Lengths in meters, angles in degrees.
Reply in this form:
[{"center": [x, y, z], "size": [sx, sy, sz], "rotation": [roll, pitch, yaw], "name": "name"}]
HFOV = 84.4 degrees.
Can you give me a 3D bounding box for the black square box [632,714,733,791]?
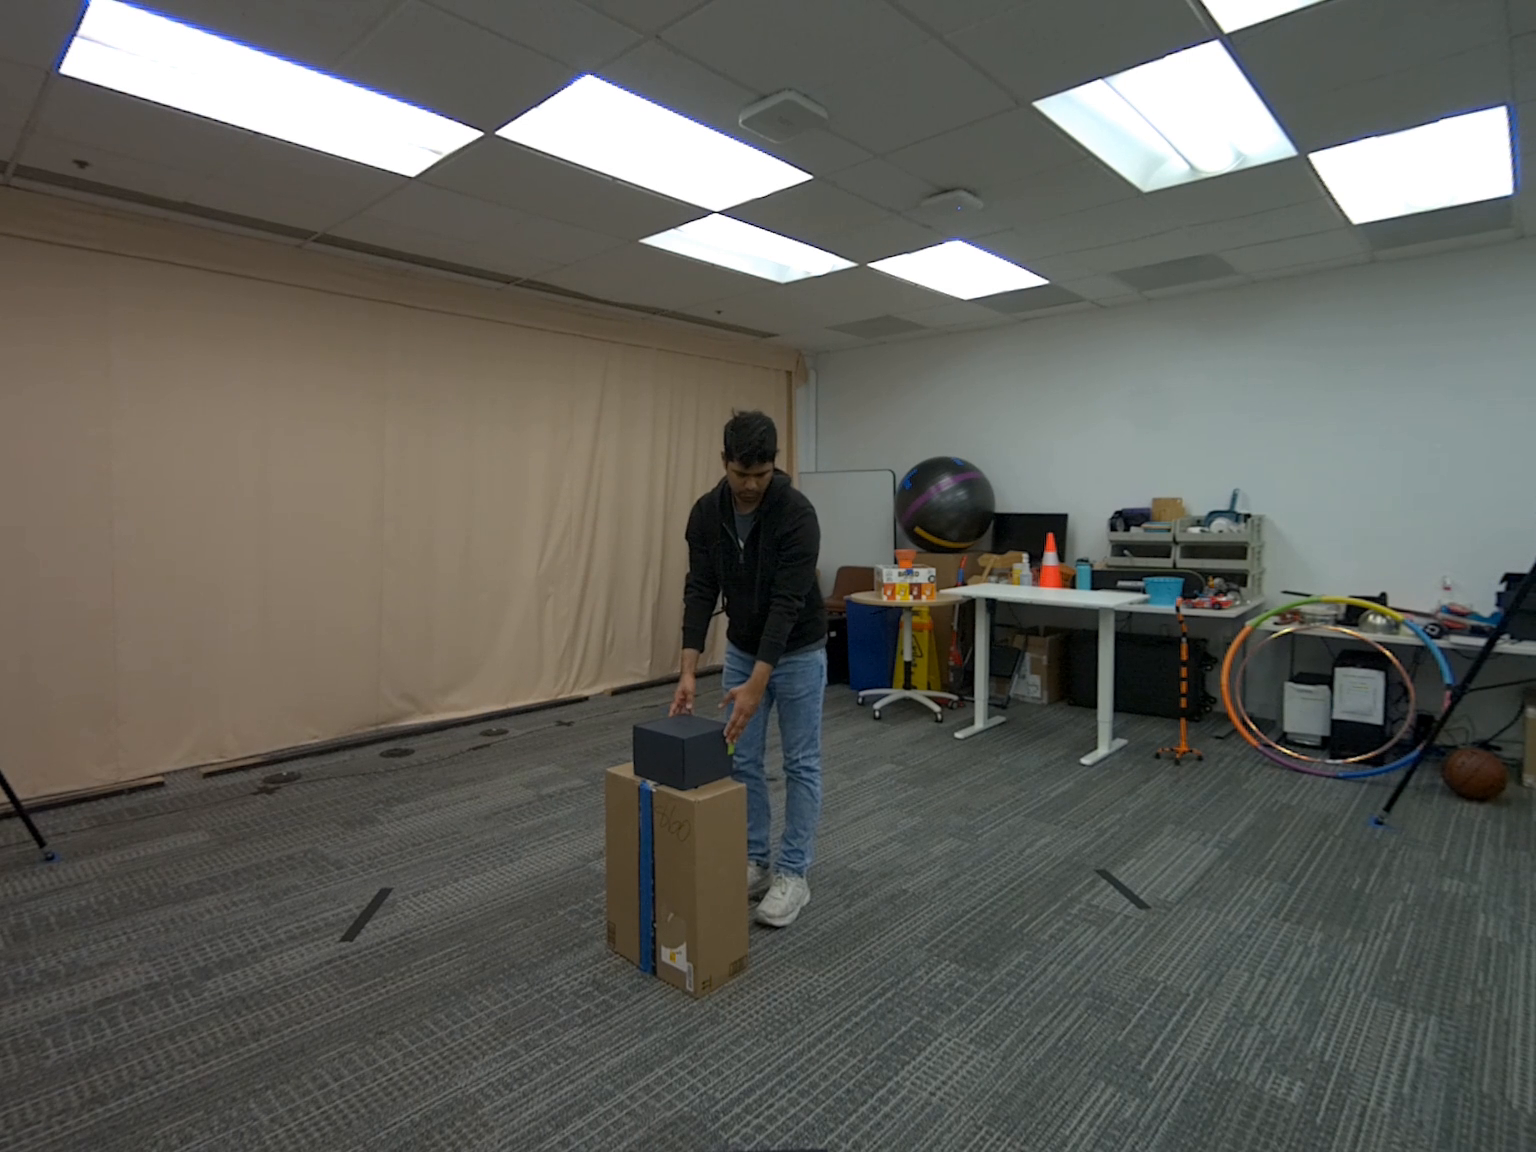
[{"center": [-0.243, 0.532, 2.583], "size": [0.235, 0.155, 0.210], "rotation": [3, 4, 42], "name": "black square box"}]
